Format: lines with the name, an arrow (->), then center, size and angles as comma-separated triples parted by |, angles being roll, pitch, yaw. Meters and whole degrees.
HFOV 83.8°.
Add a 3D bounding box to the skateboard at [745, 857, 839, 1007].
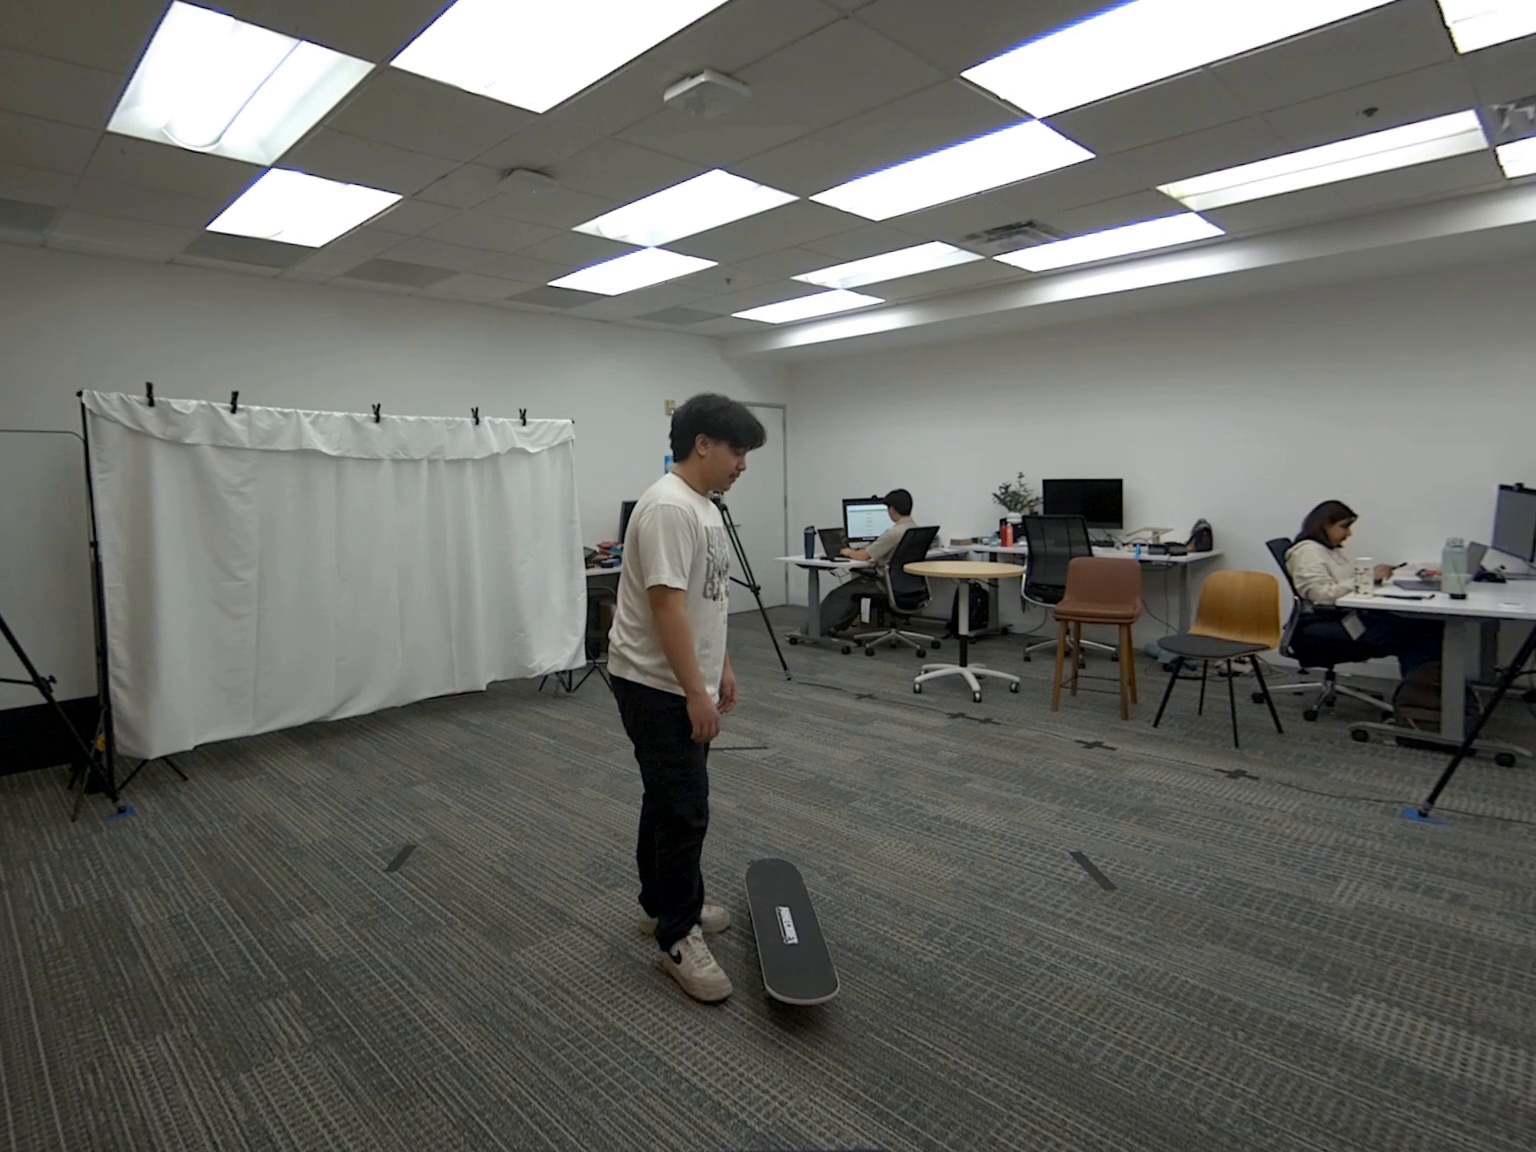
skateboard -> 0.060, 1.051, 2.510 | 0.192, 0.110, 0.793 | -1, 6, -7
